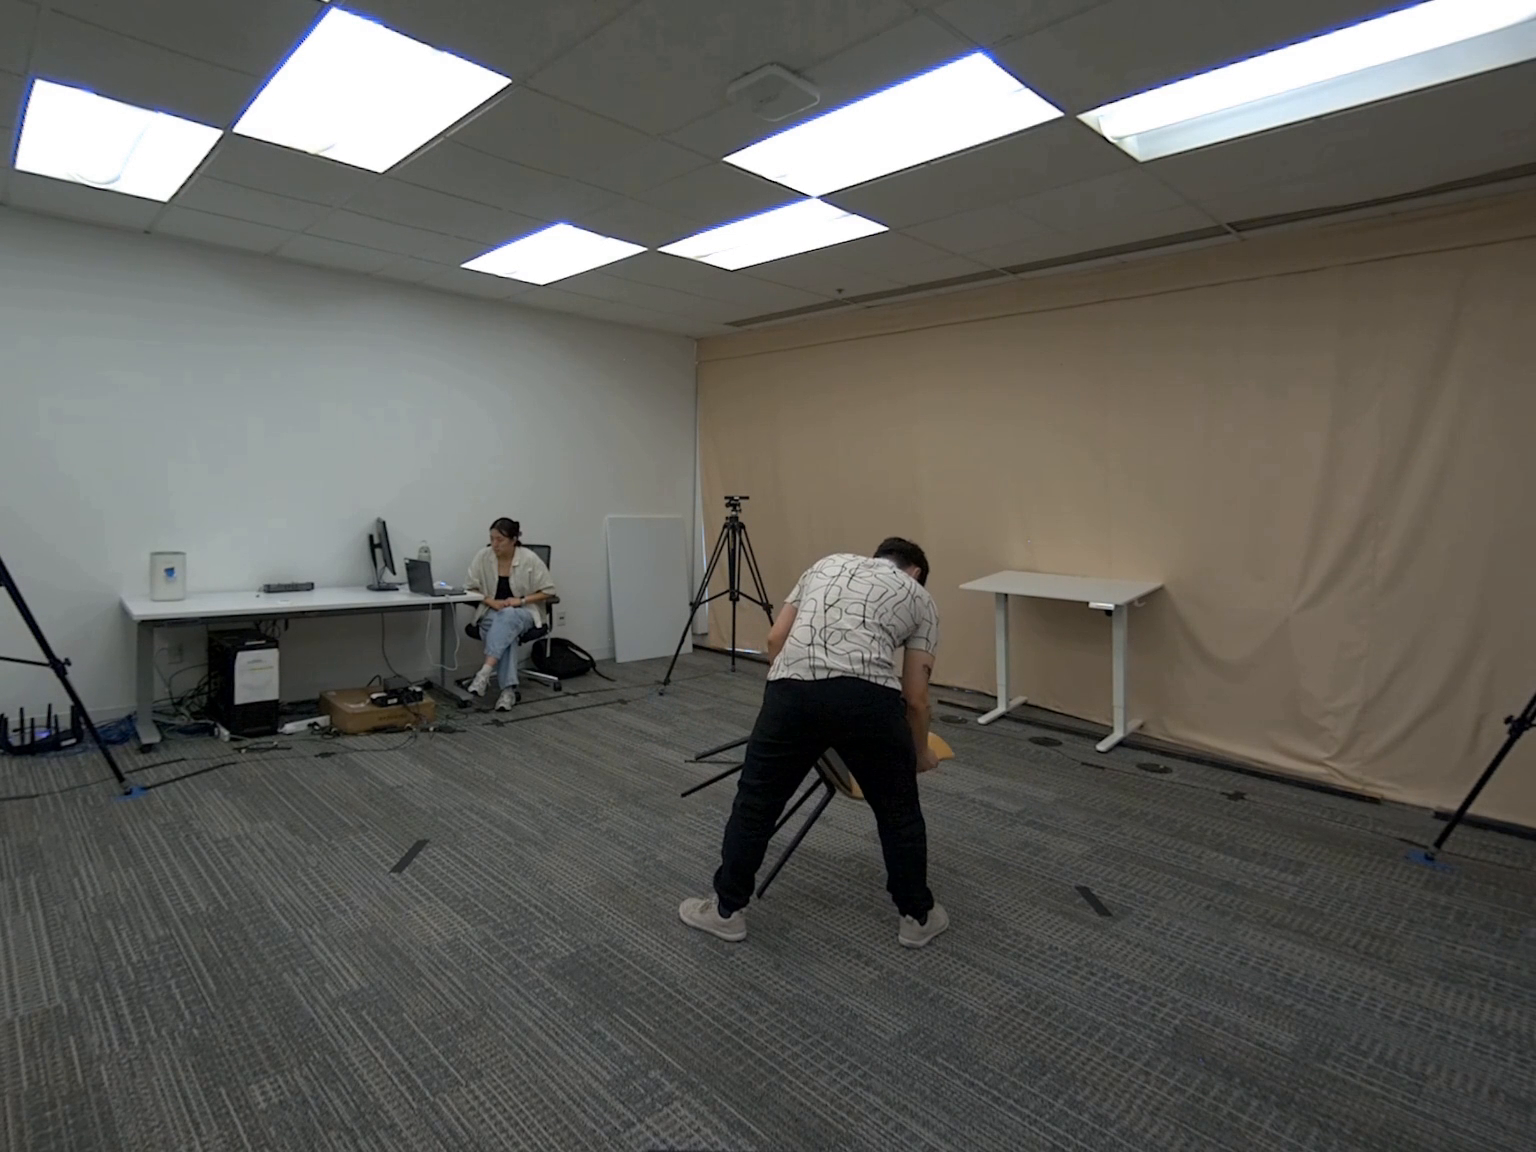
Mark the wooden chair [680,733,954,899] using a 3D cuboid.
[{"bbox_3d":[0.166,0.668,3.103,0.878,0.523,0.478,-33,1,5],"label":"wooden chair"}]
